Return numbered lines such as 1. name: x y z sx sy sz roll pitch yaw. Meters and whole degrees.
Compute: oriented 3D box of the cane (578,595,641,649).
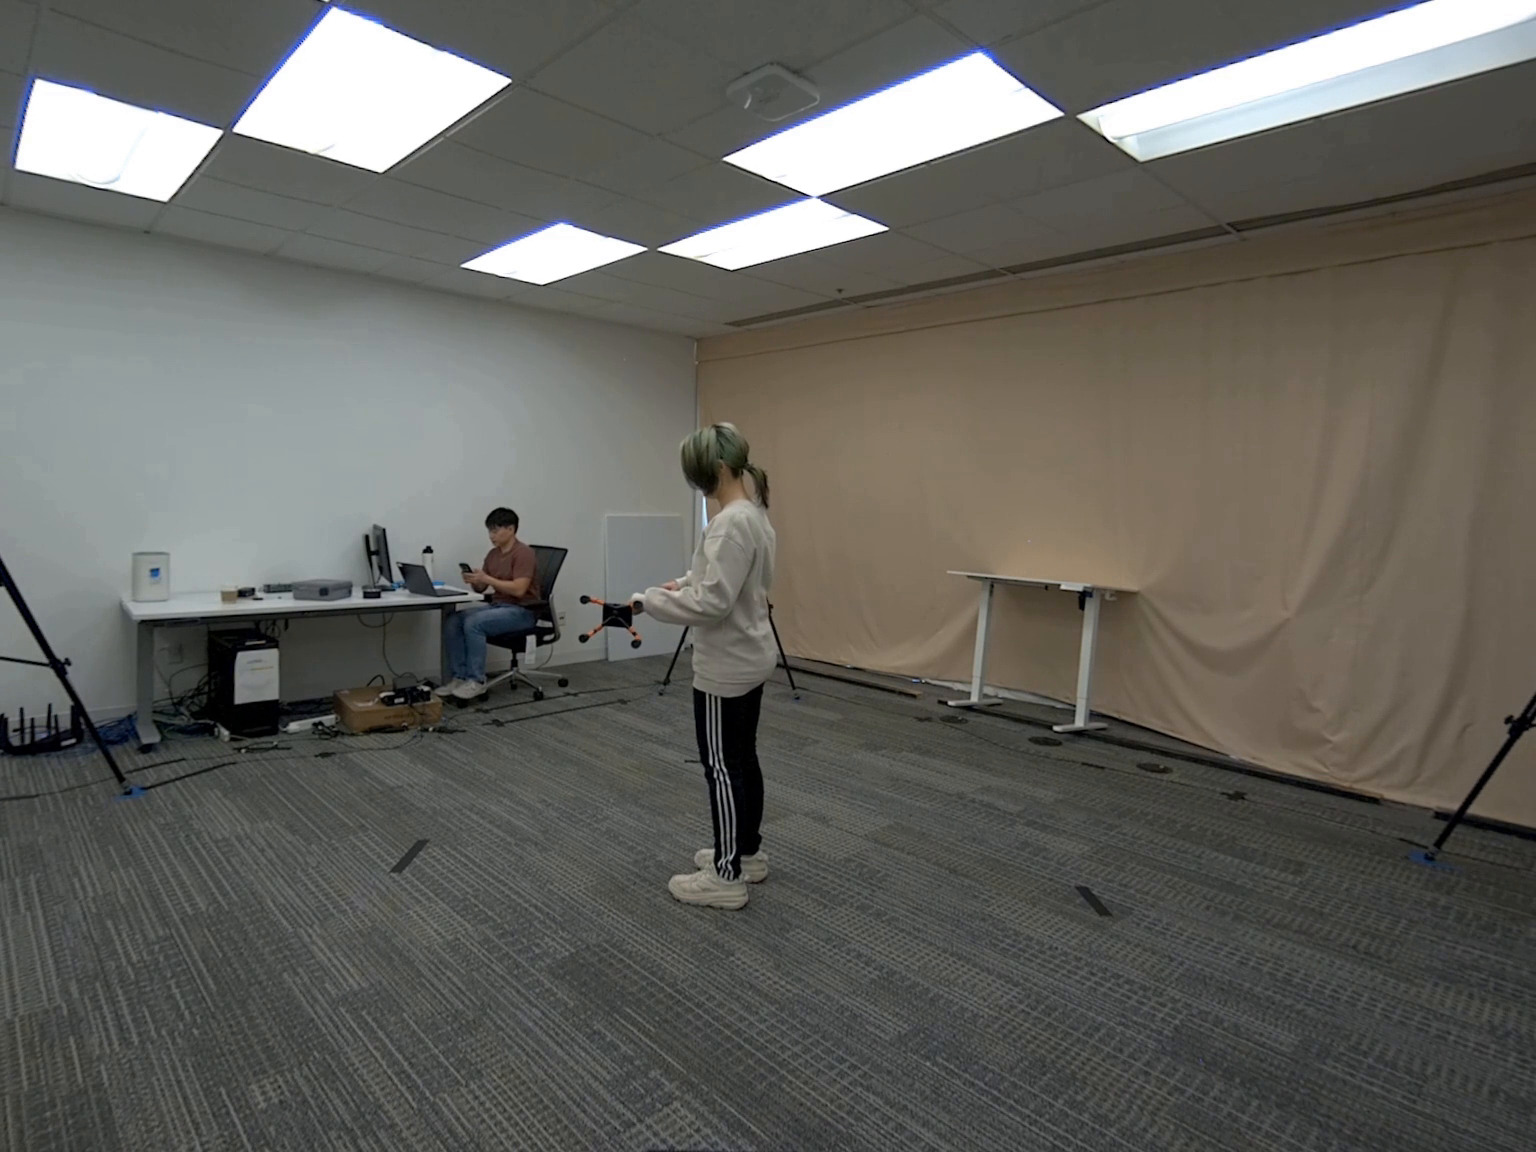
1. cane: -0.405 0.090 3.065 0.209 0.151 0.902 4 8 13
